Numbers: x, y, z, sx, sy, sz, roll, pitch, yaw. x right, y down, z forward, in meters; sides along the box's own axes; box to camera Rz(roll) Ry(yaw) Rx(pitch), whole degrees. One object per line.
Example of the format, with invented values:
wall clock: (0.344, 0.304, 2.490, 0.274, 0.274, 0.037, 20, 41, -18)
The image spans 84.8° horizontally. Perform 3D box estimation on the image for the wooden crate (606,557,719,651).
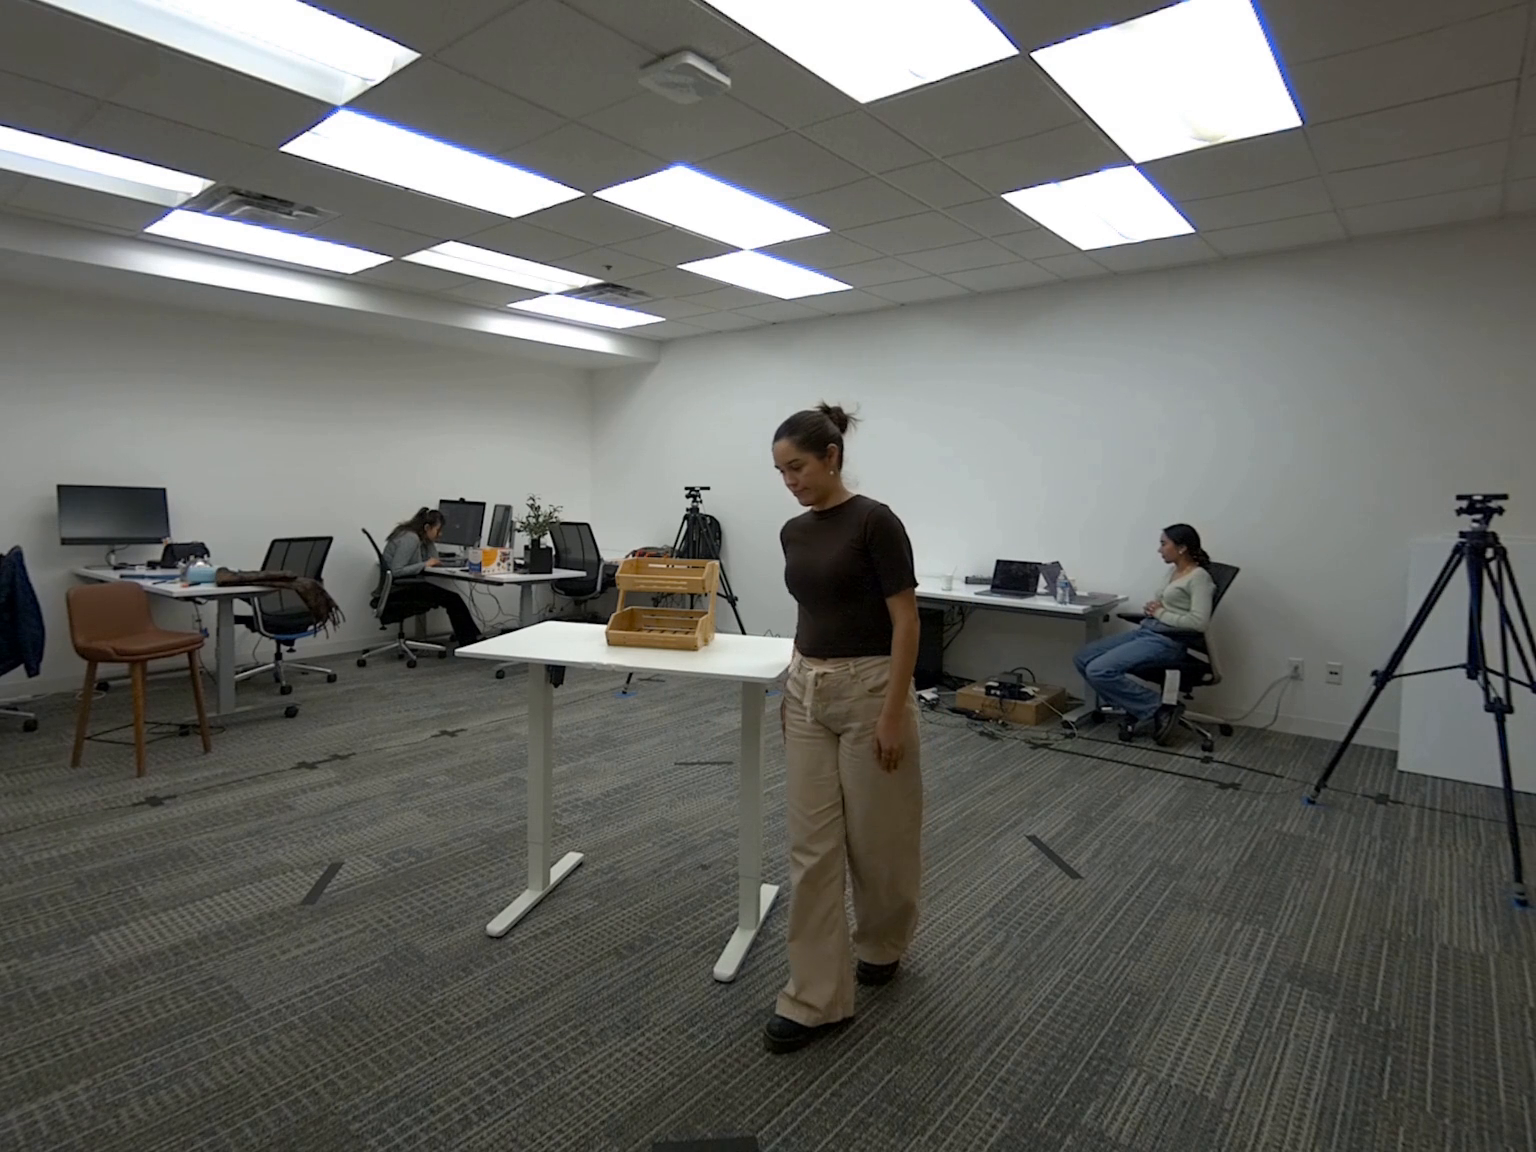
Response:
wooden crate: (-0.349, 0.080, 2.791, 0.328, 0.272, 0.300, 2, 4, 10)
